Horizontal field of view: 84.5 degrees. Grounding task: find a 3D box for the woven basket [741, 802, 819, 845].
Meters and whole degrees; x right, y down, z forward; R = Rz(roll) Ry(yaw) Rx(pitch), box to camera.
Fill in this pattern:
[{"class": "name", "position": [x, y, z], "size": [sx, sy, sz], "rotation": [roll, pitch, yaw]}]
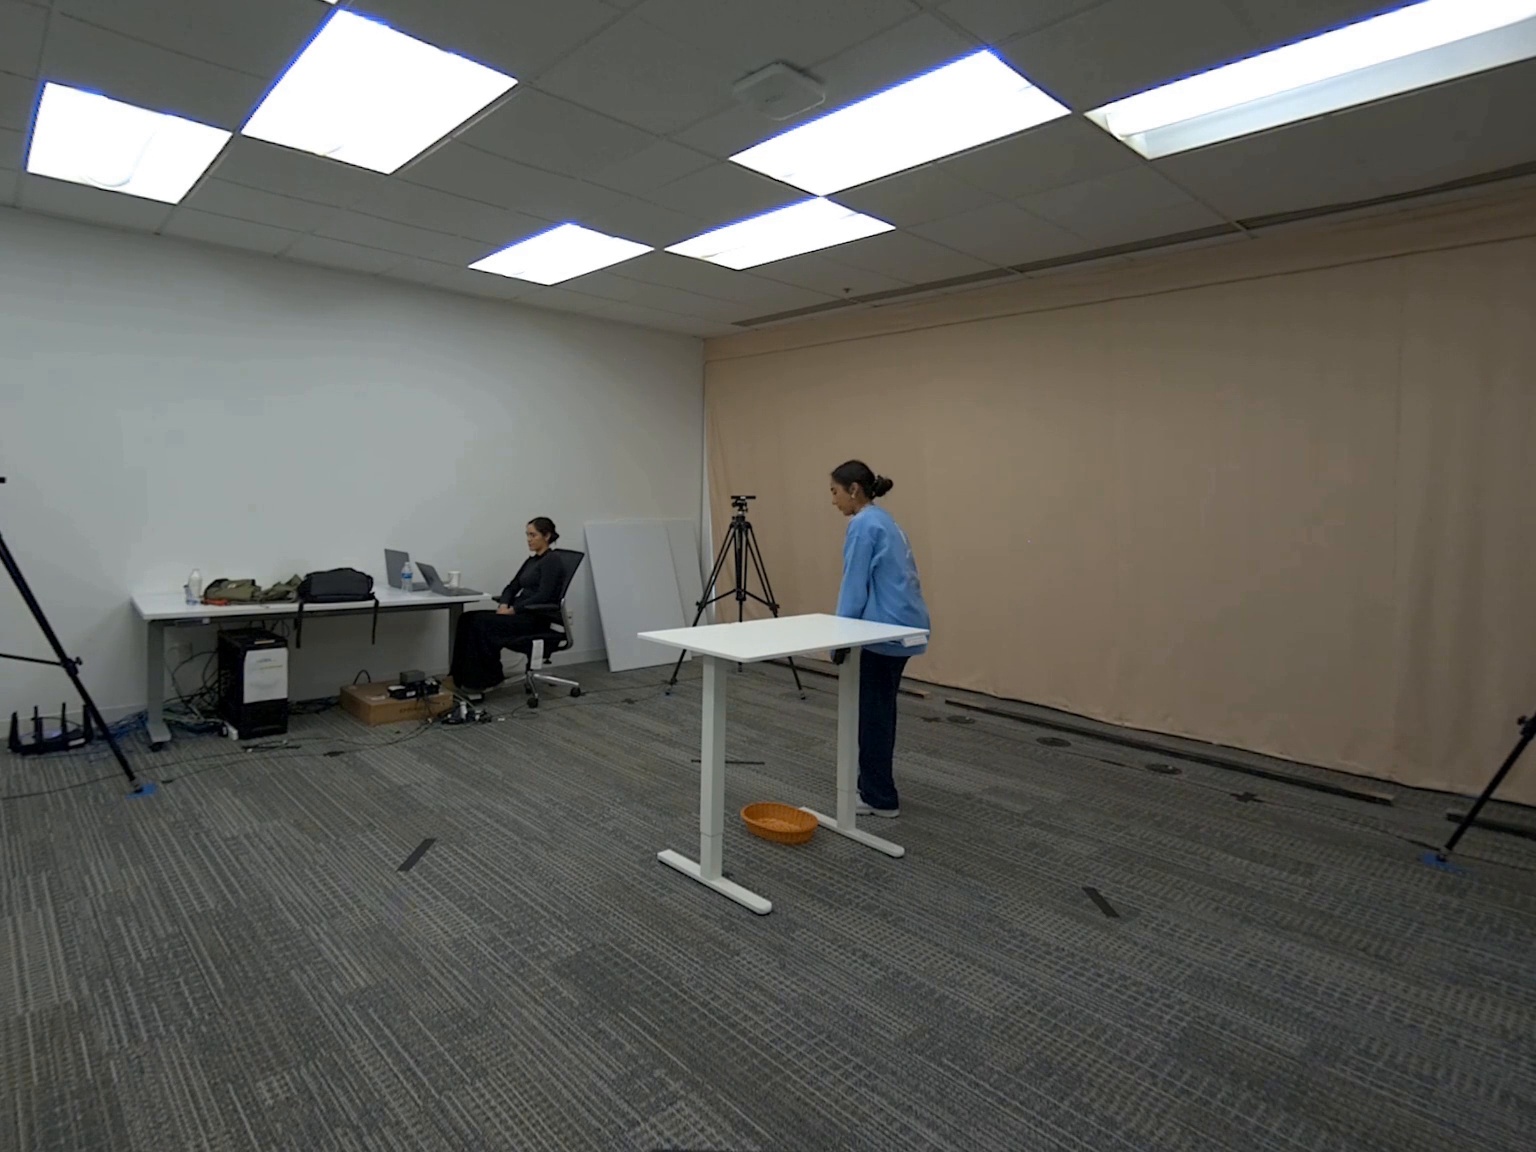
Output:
[{"class": "woven basket", "position": [0.037, 1.029, 3.509], "size": [0.359, 0.073, 0.247], "rotation": [6, 8, 41]}]
